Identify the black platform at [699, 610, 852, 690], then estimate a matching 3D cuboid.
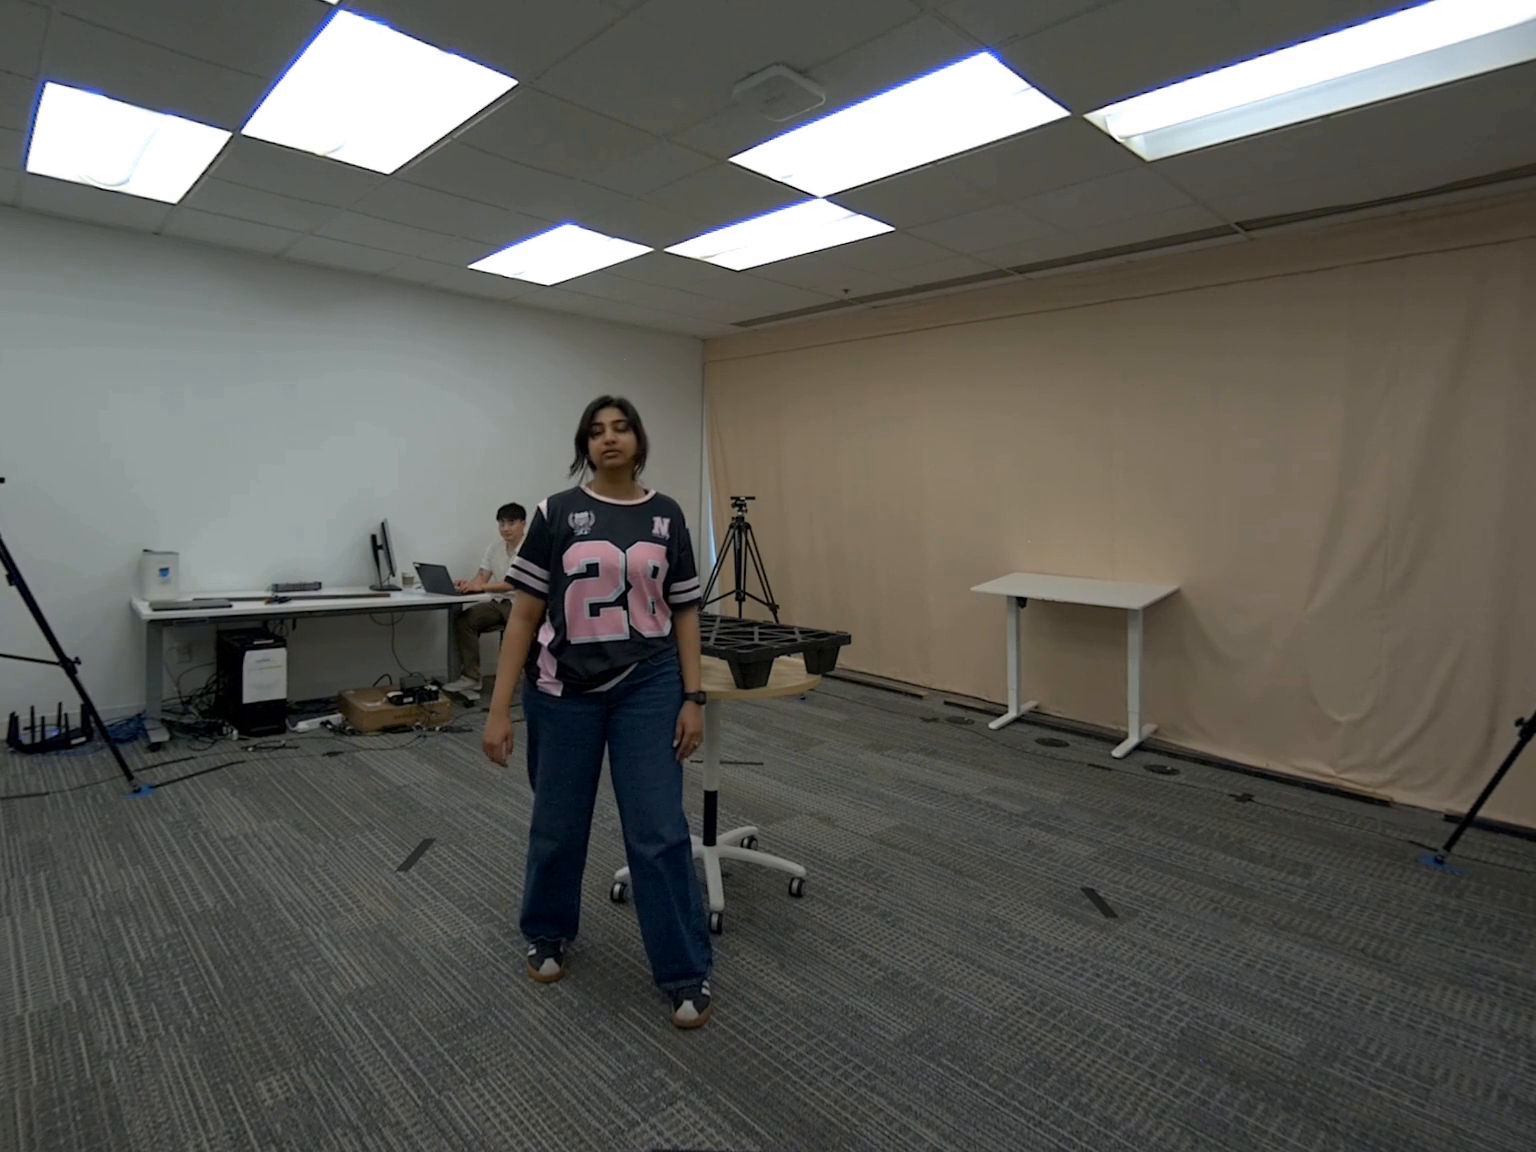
[{"bbox_3d":[-0.200,0.260,3.069,0.826,0.143,0.591,6,6,42],"label":"black platform"}]
